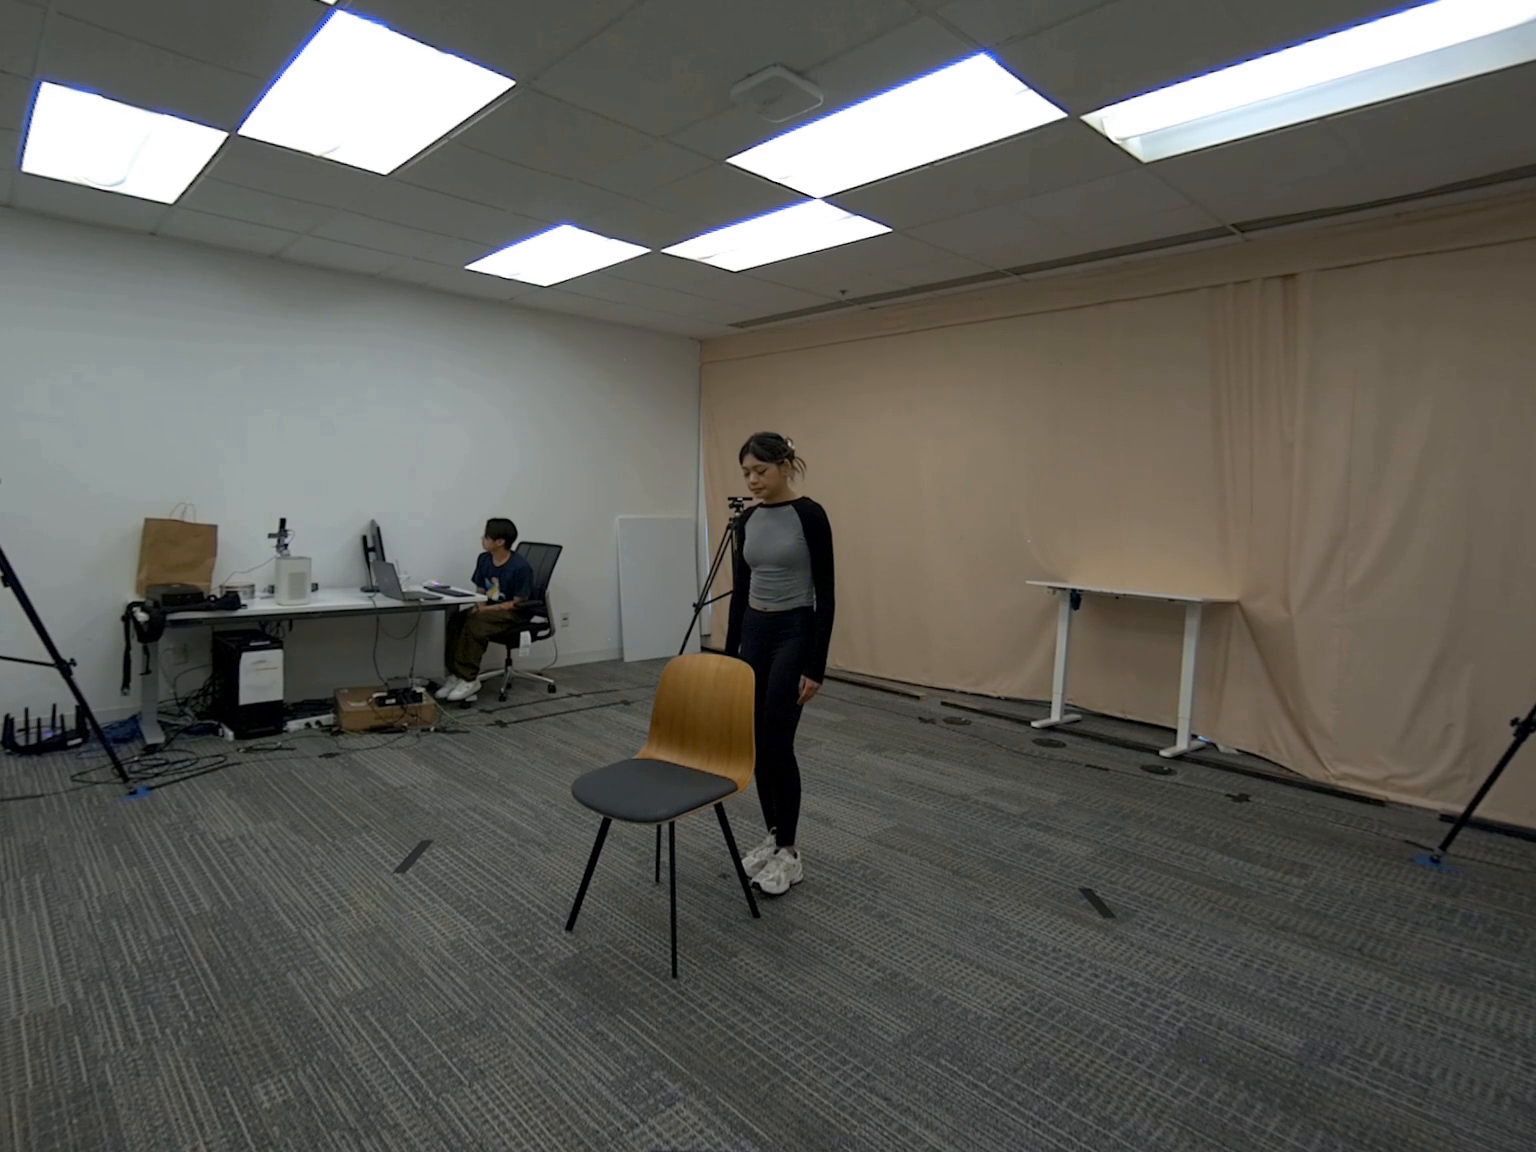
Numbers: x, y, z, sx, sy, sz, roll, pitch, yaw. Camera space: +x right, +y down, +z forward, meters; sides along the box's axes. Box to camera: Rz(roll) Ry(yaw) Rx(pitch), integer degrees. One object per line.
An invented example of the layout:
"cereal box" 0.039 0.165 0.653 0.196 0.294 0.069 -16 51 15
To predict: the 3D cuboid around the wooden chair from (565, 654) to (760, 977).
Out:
"wooden chair" -0.333 0.713 2.702 0.489 0.878 0.511 4 0 34
